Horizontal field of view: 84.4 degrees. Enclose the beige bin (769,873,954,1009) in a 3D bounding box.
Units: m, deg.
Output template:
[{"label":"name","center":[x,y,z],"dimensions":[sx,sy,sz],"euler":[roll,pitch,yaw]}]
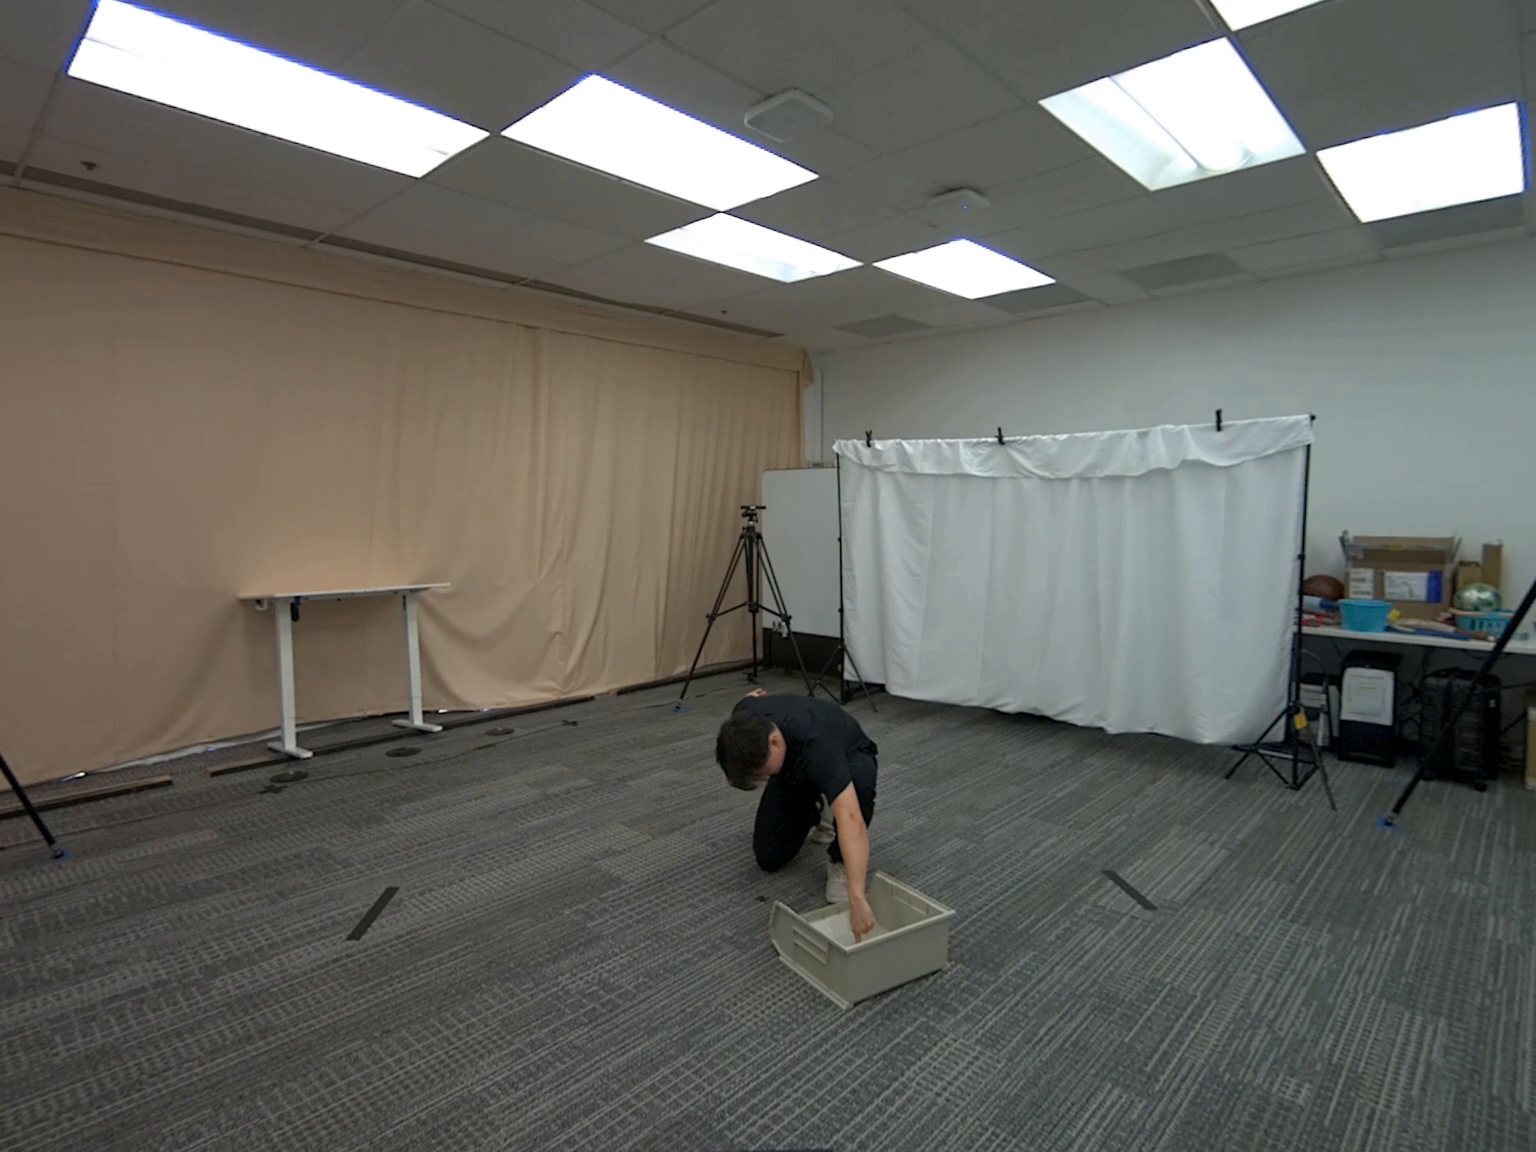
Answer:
[{"label":"beige bin","center":[0.280,1.082,2.574],"dimensions":[0.410,0.188,0.389],"euler":[-2,5,-33]}]
